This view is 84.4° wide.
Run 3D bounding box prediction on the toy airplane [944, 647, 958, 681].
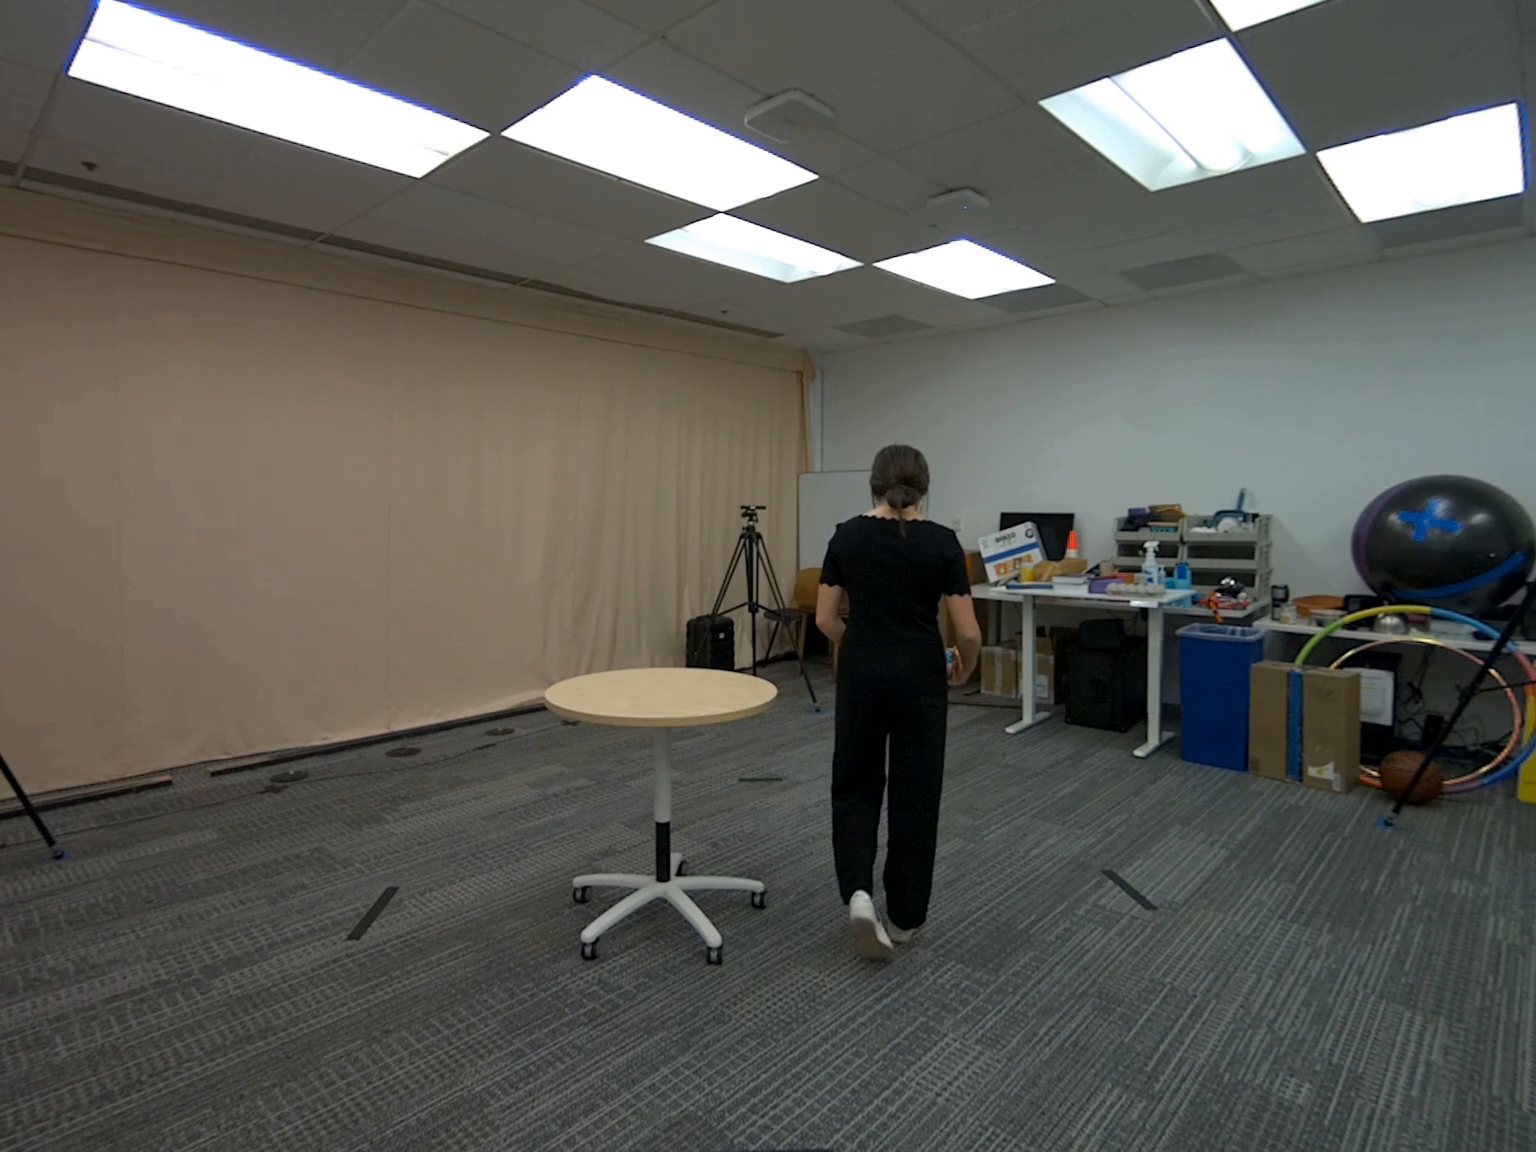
[{"bbox_3d":[0.513,0.301,2.823,0.257,0.156,0.253,16,0,-7],"label":"toy airplane"}]
